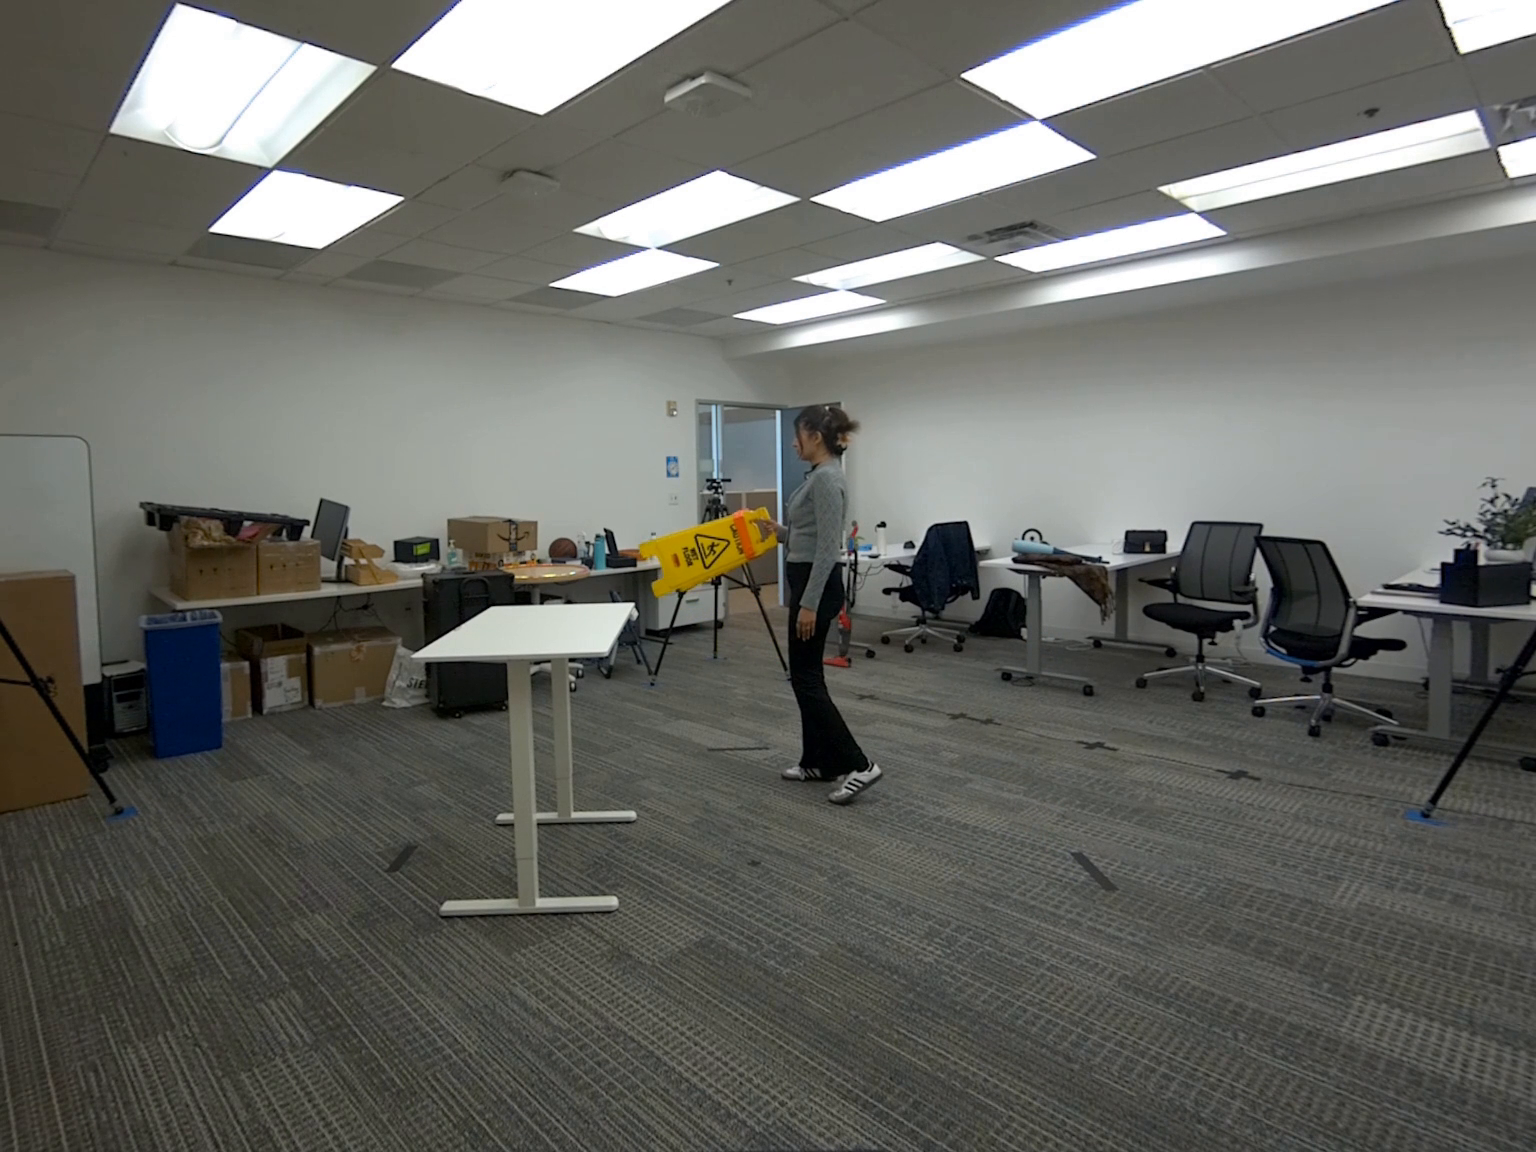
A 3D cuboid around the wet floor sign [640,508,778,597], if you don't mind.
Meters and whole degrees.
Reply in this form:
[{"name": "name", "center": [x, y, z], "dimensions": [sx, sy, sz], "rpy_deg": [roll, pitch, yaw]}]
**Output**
[{"name": "wet floor sign", "center": [-0.260, -0.134, 4.215], "dimensions": [0.654, 0.284, 0.284], "rpy_deg": [-21, -5, 22]}]
